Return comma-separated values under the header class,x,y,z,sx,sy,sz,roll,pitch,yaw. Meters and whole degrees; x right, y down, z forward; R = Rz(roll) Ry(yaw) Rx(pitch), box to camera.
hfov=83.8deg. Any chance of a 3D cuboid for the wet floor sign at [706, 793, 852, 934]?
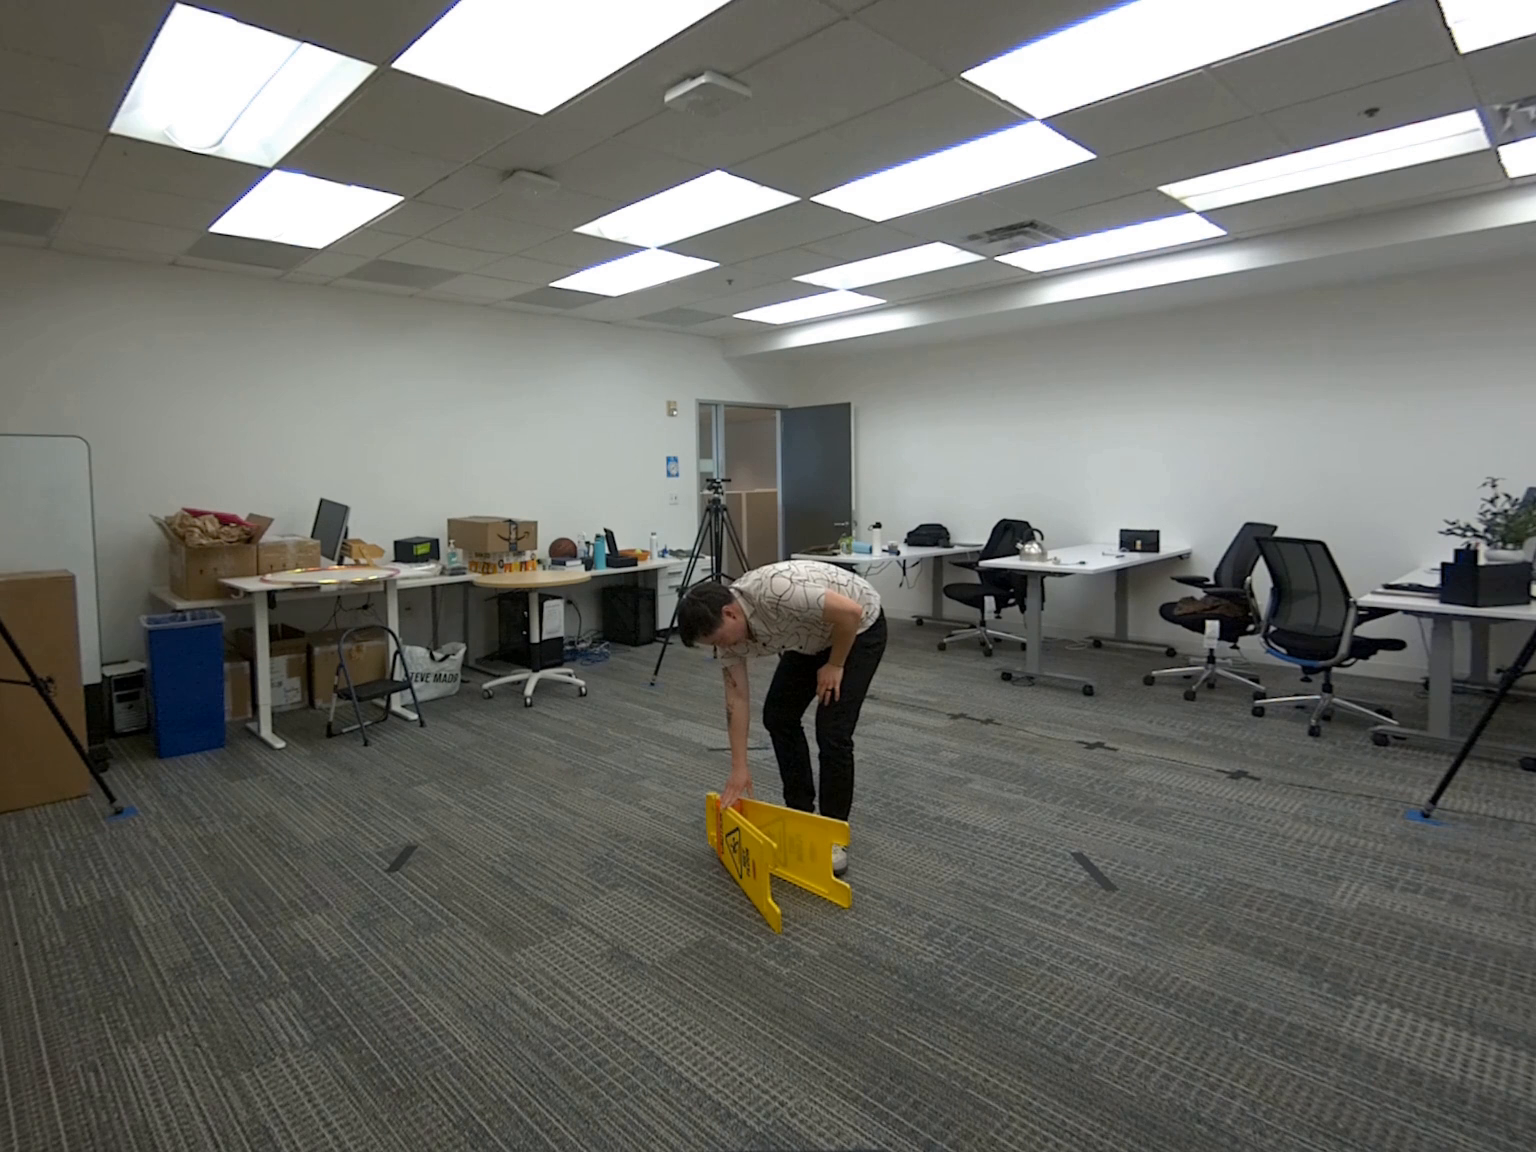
class,x,y,z,sx,sy,sz,roll,pitch,yaw
wet floor sign,-0.038,0.931,2.957,0.282,0.281,0.664,-4,5,-34
